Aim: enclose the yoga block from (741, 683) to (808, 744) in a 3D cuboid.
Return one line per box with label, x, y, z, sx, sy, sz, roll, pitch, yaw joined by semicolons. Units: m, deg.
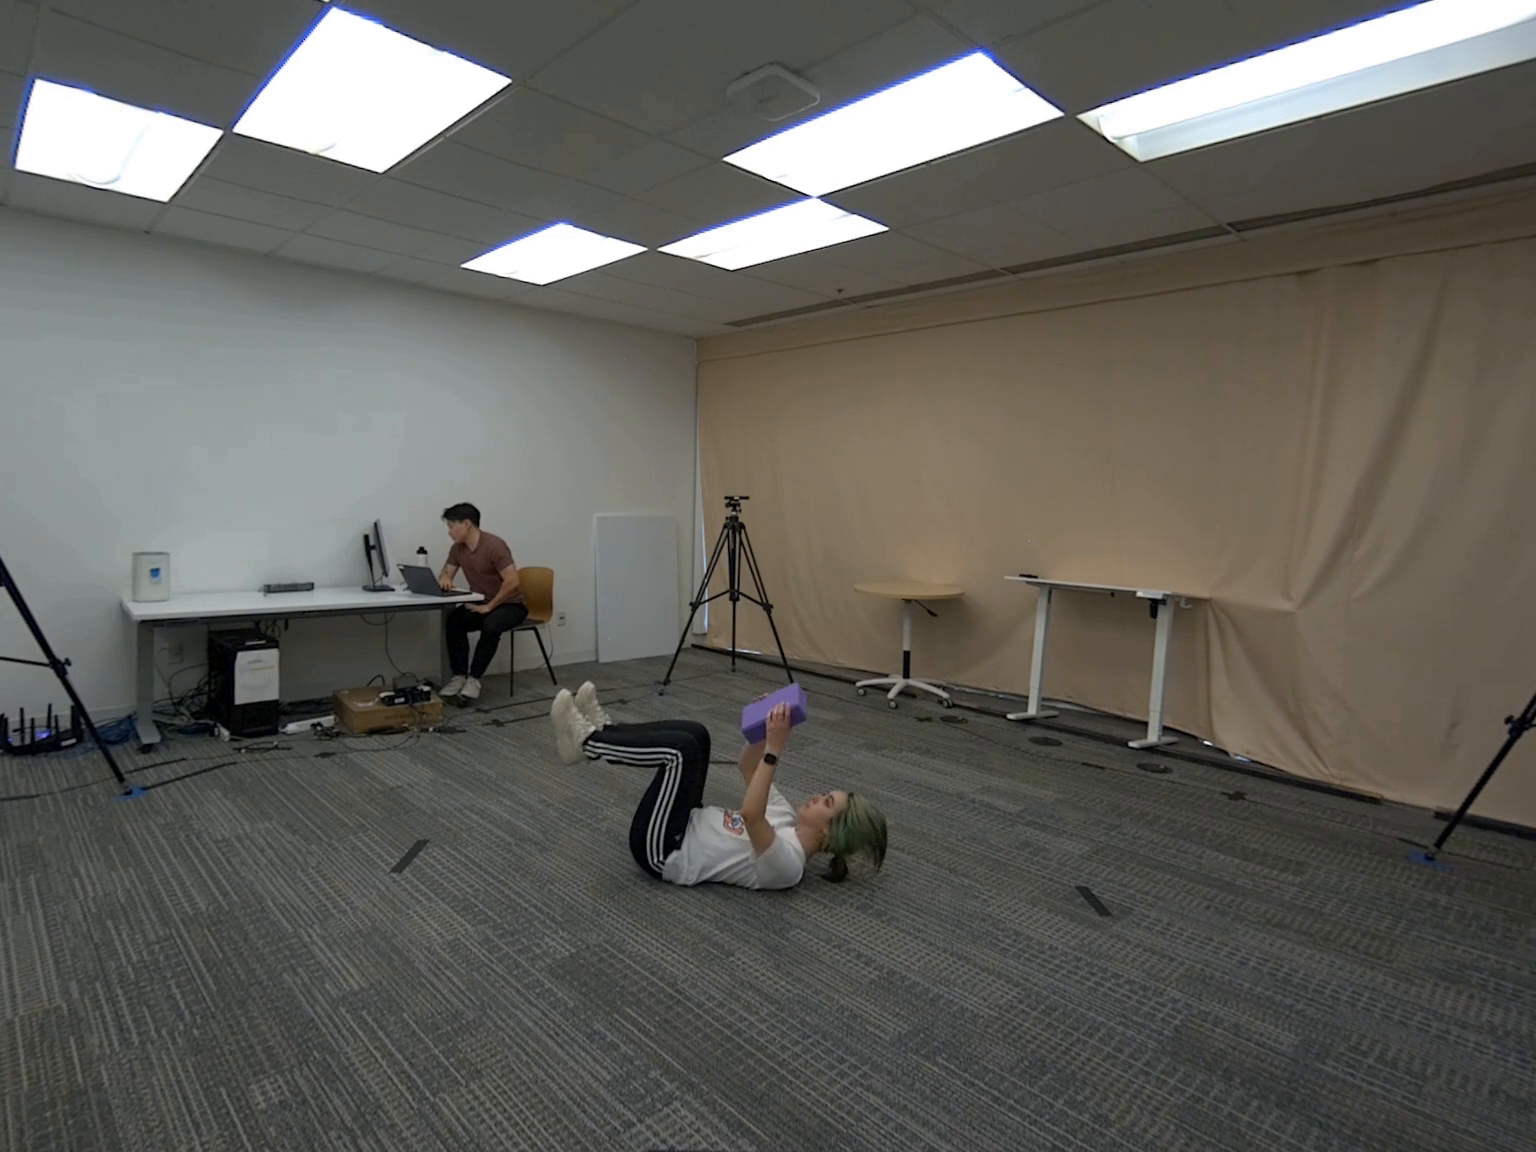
yoga block;0.011;0.489;2.950;0.230;0.075;0.151;-29;20;12
